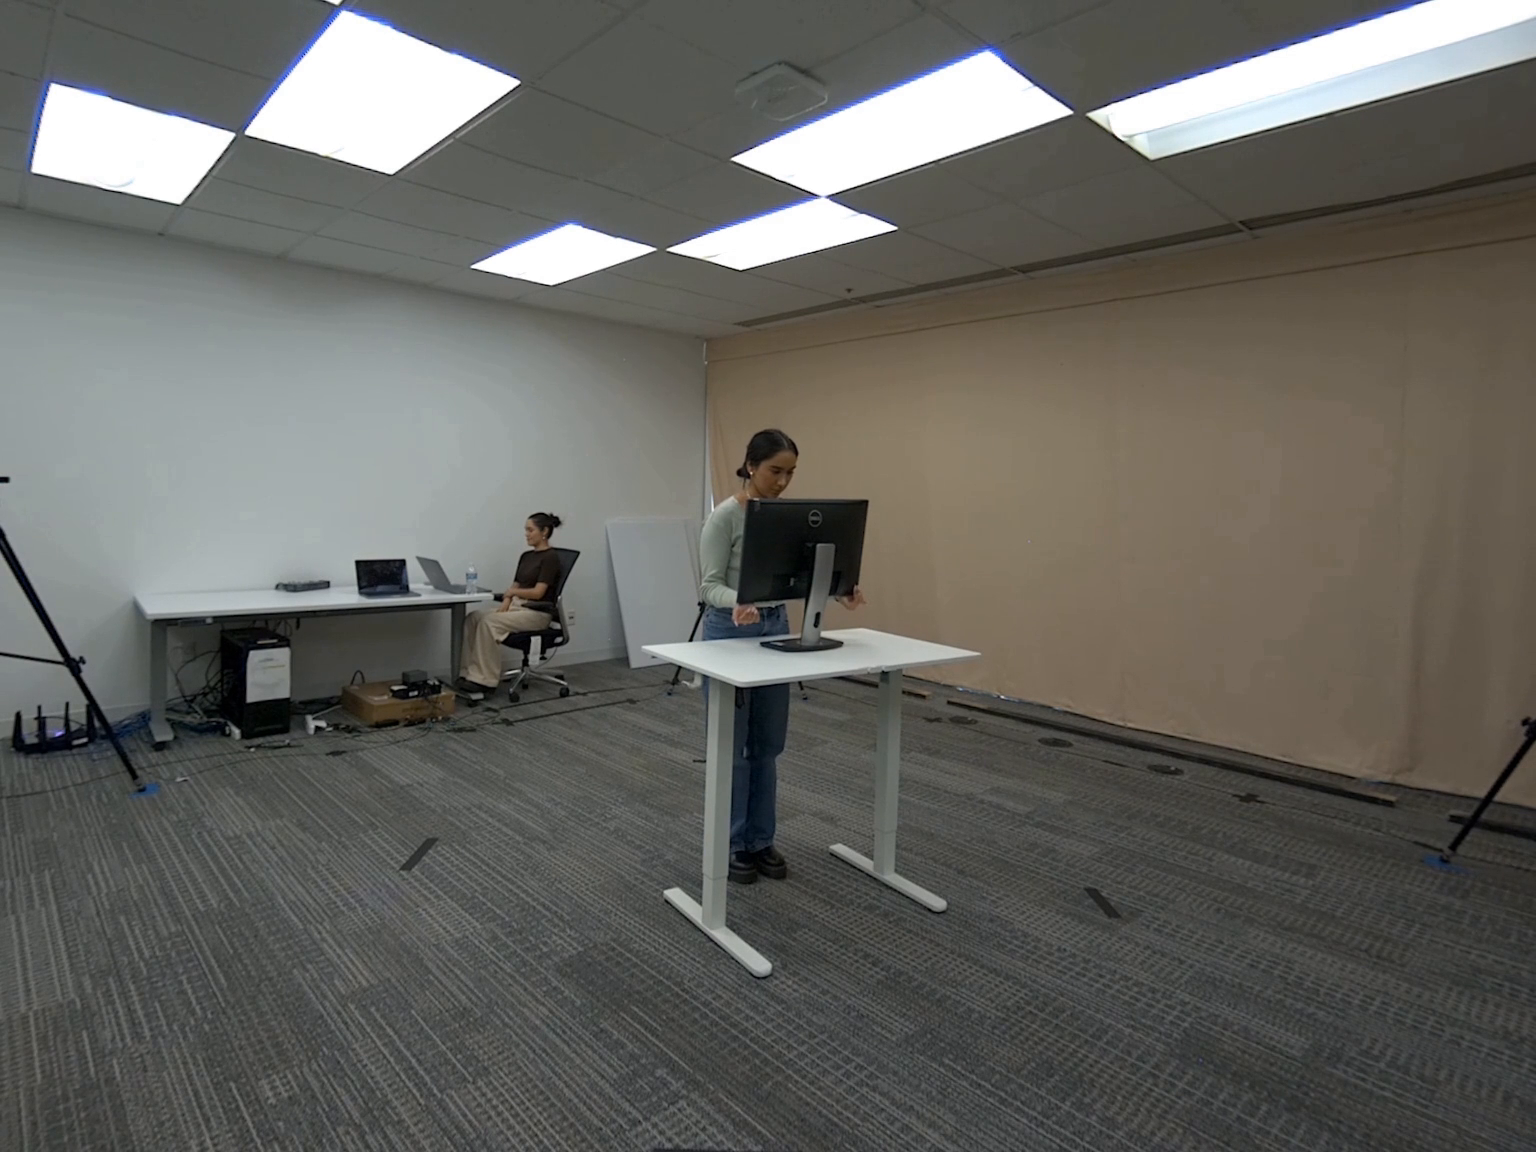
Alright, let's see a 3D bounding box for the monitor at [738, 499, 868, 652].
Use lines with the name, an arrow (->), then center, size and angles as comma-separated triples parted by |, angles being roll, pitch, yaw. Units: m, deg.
monitor -> 0.135, -0.001, 2.897 | 0.527, 0.521, 0.192 | -2, 4, -37
